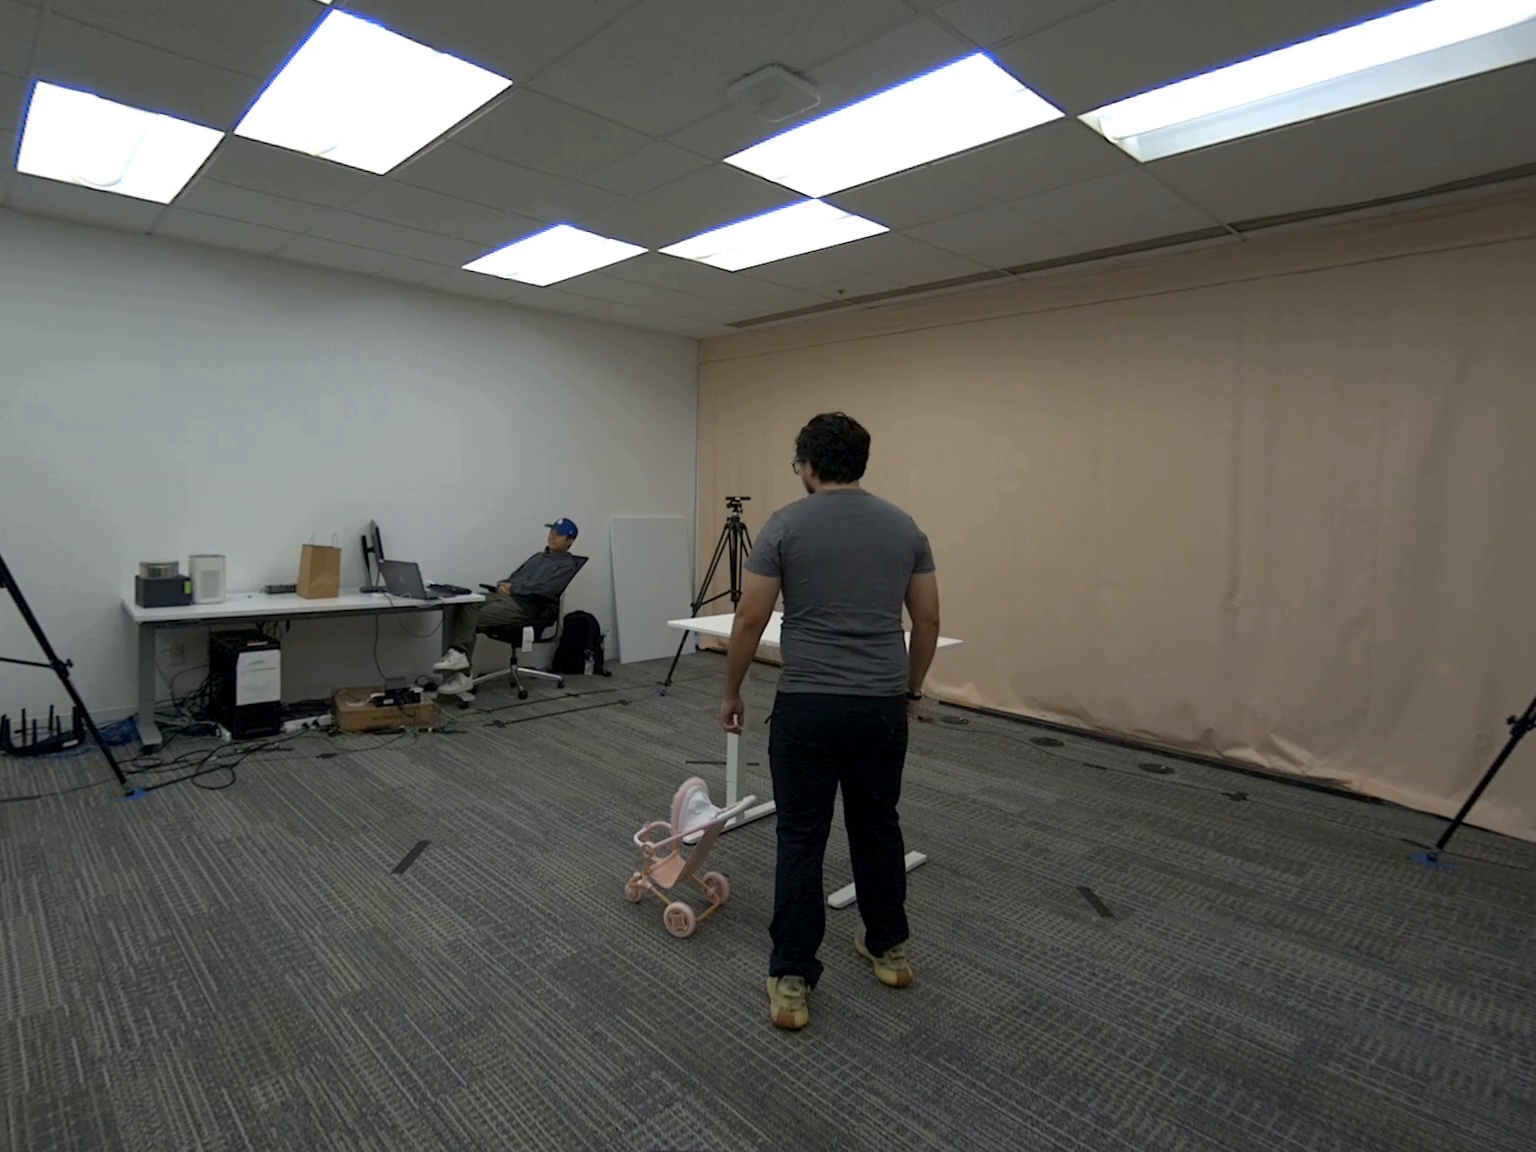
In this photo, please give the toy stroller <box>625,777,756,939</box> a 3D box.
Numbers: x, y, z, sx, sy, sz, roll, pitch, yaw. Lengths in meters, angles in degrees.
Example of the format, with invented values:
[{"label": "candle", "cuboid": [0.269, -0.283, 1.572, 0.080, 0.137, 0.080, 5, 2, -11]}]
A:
[{"label": "toy stroller", "cuboid": [-0.288, 0.909, 2.795, 0.350, 0.532, 0.276, 22, 12, 27]}]
